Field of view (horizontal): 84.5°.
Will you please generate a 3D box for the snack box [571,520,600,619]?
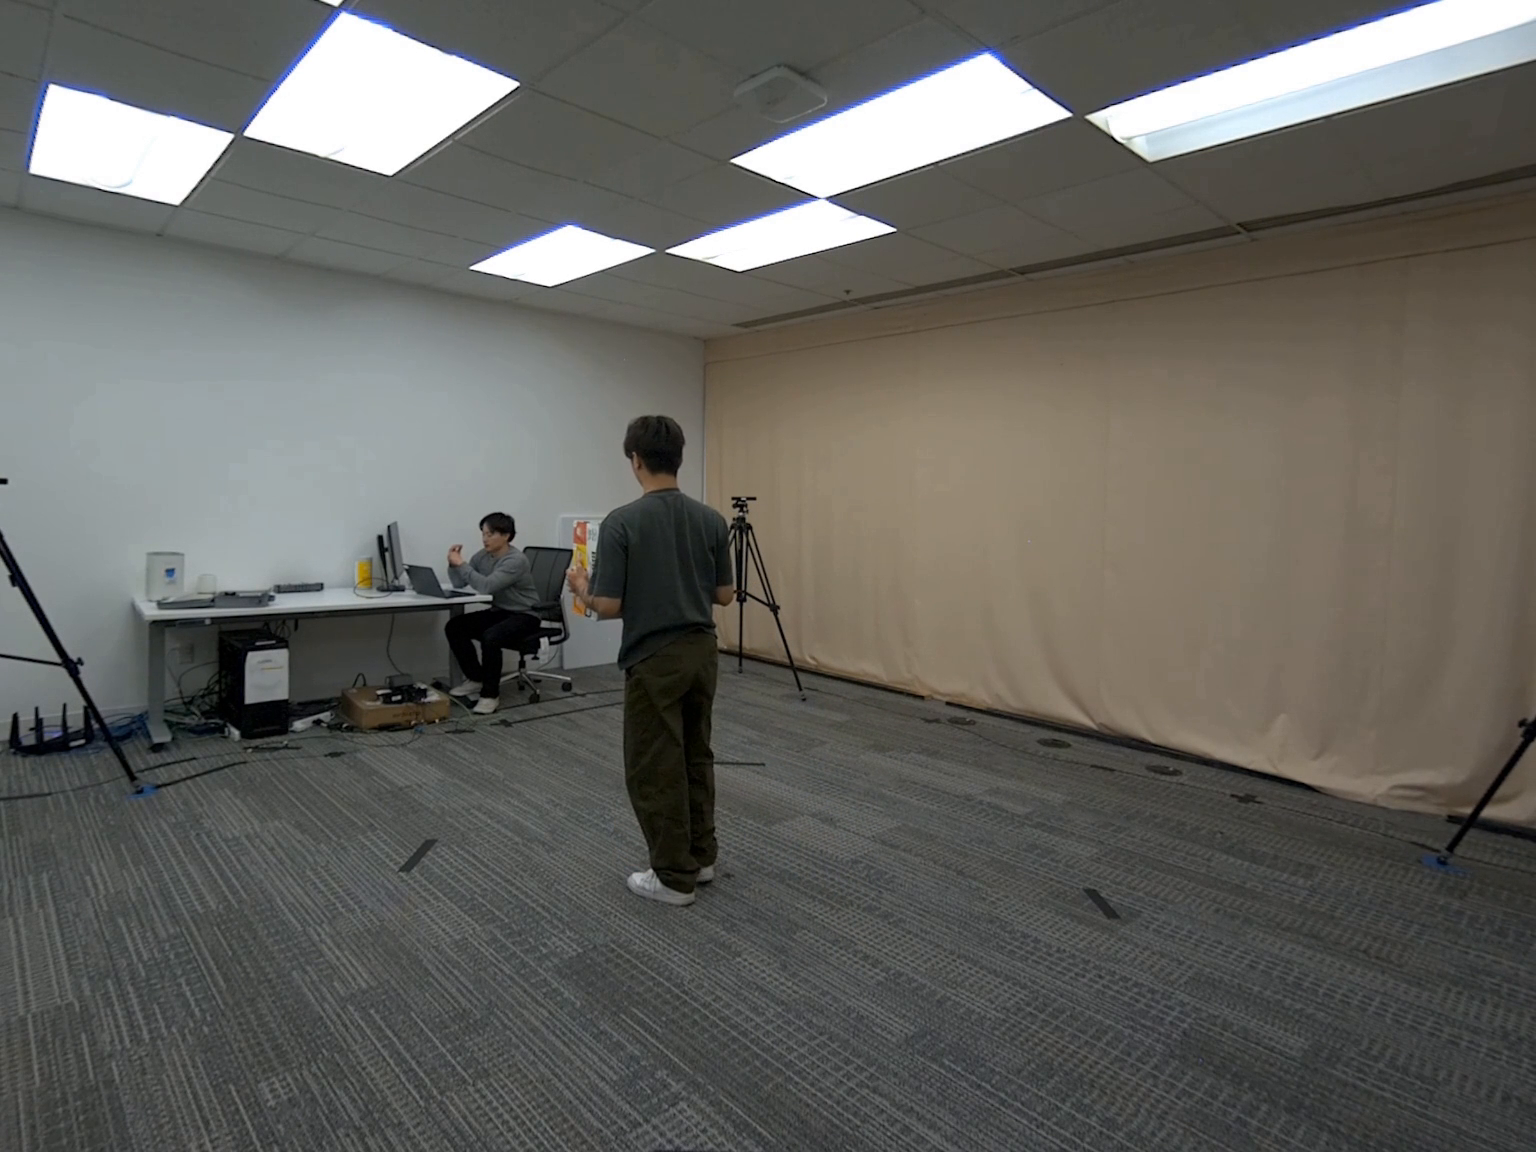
[{"bbox_3d":[-0.481,-0.031,3.096,0.396,0.339,0.211,-2,6,-36],"label":"snack box"}]
